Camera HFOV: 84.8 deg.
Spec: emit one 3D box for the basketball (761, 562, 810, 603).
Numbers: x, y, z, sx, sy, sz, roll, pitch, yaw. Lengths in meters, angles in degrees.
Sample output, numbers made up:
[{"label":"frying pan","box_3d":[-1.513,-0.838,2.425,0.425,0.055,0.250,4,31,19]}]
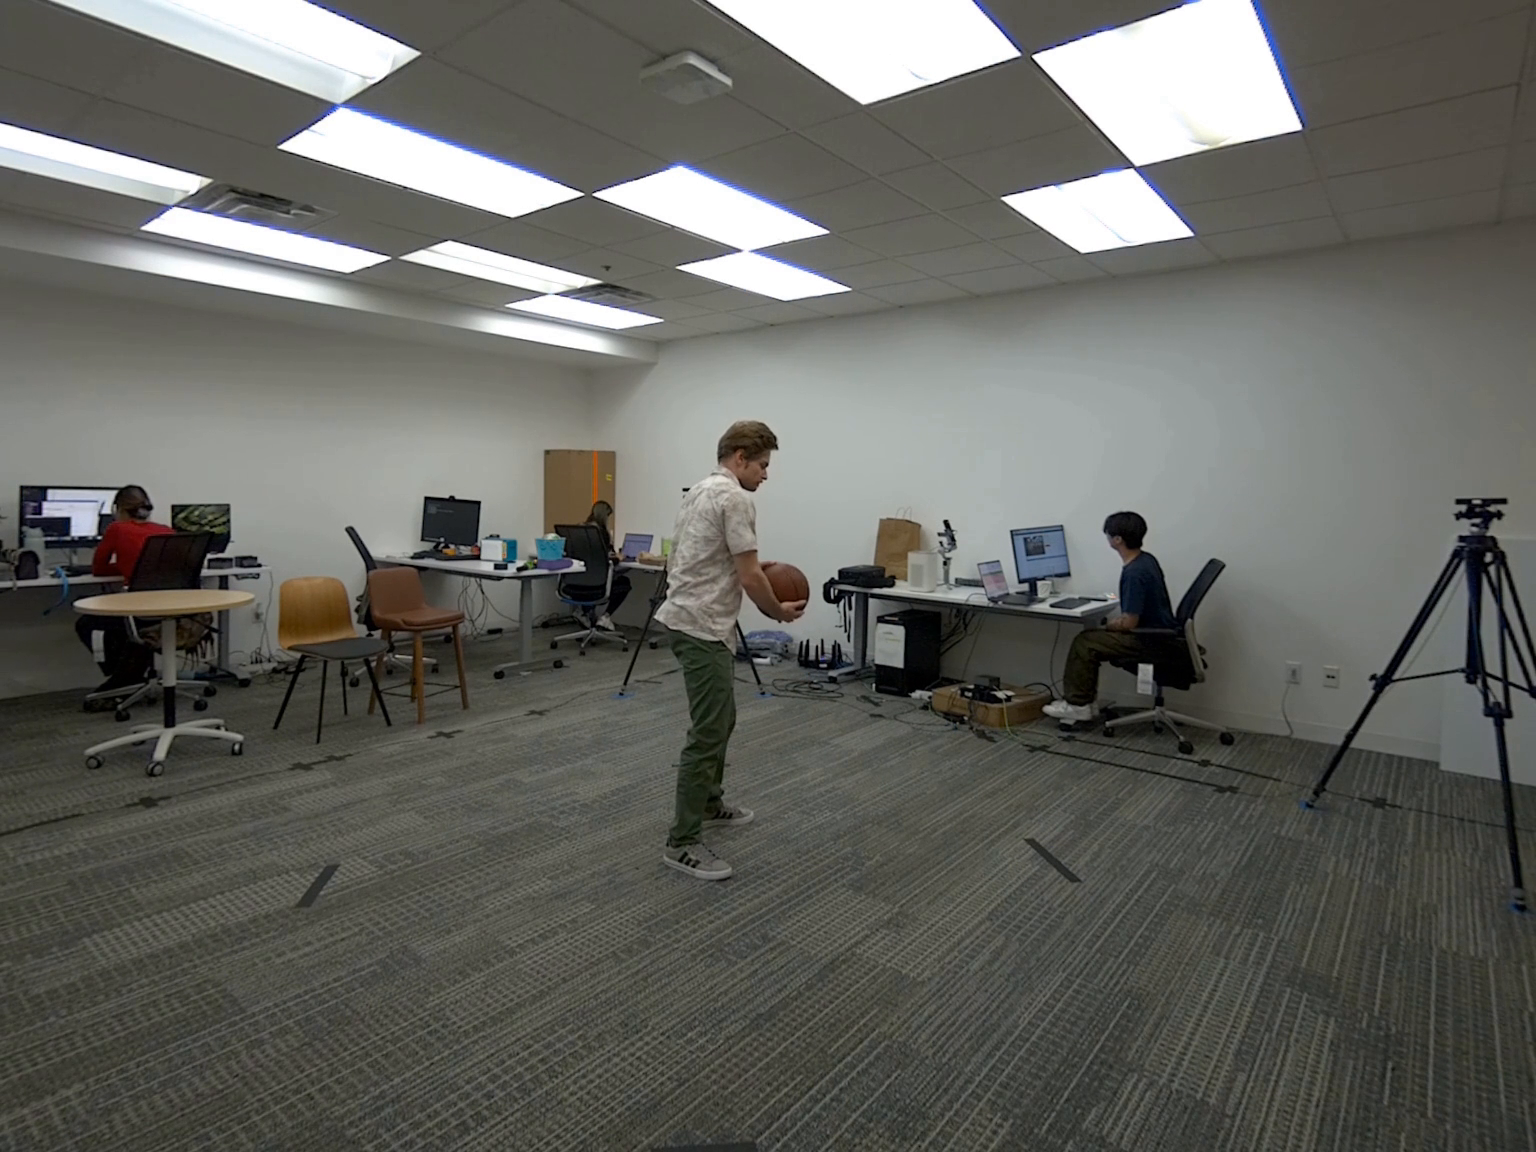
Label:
[{"label":"basketball","box_3d":[0.044,0.064,3.541,0.236,0.235,0.237,1,4,-2]}]
